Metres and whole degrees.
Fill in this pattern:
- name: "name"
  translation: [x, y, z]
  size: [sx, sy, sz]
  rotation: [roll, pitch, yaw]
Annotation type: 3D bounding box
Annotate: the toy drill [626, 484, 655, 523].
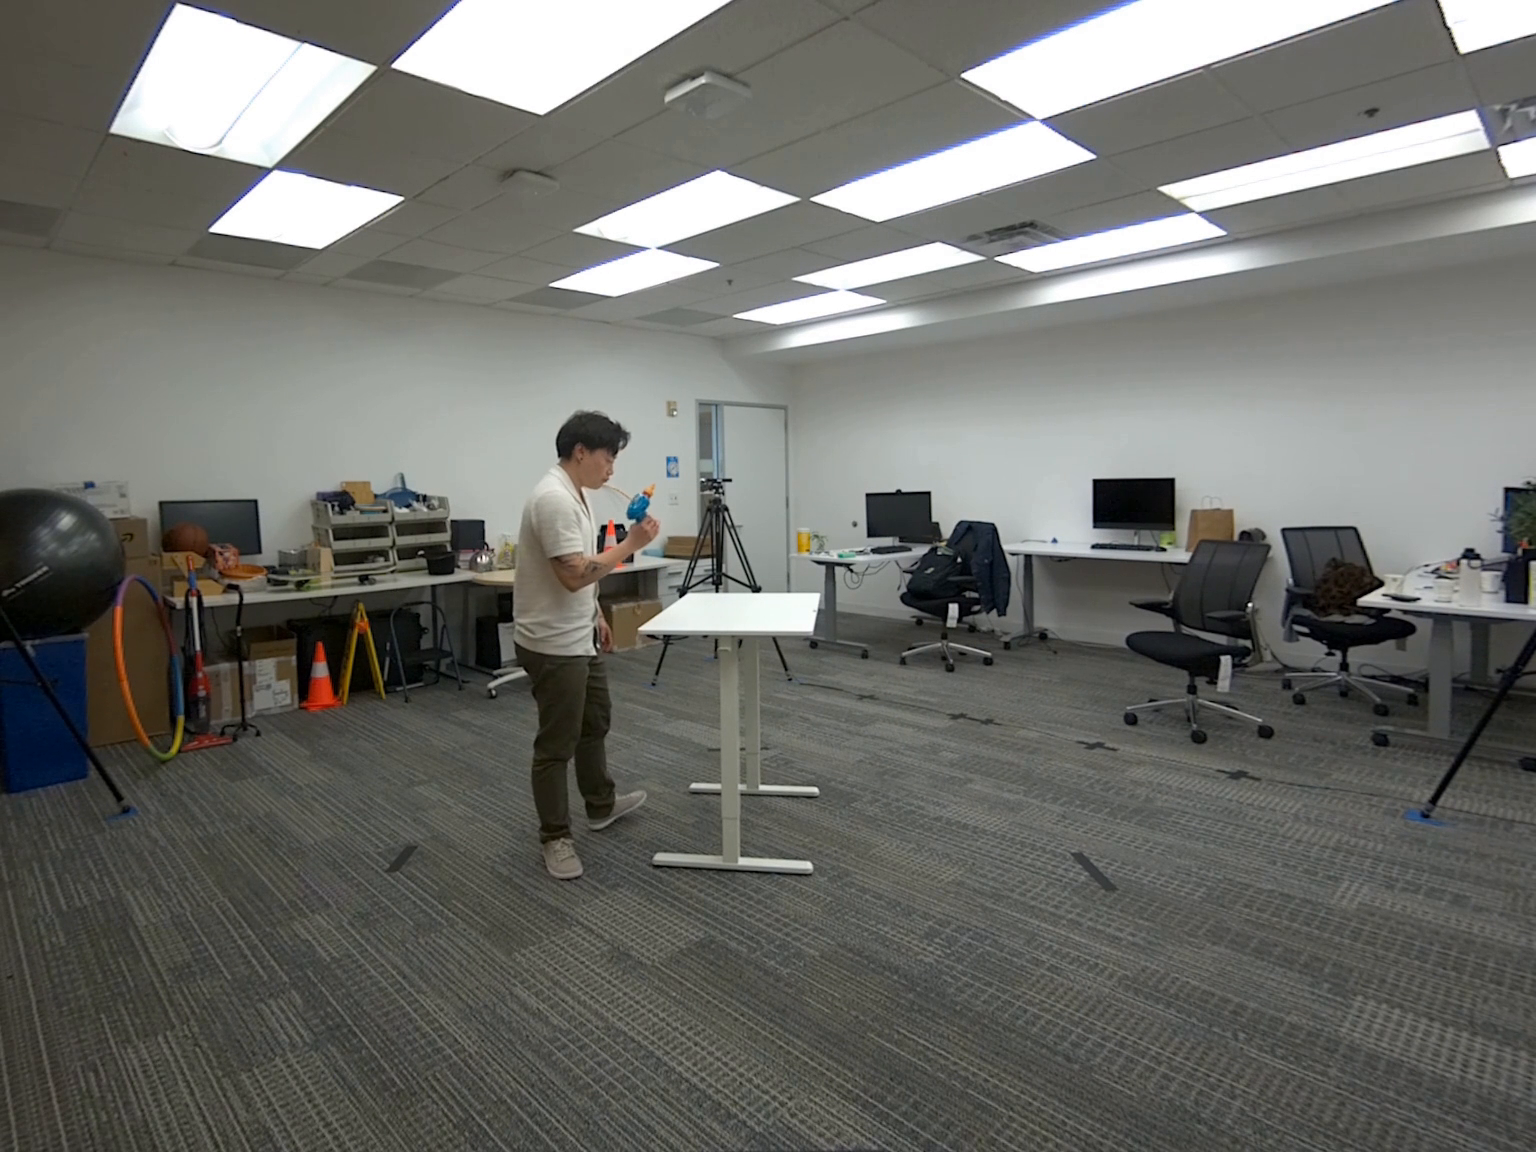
- name: "toy drill"
  translation: [-0.422, -0.235, 2.990]
  size: [0.063, 0.171, 0.140]
  rotation: [10, -33, 35]
